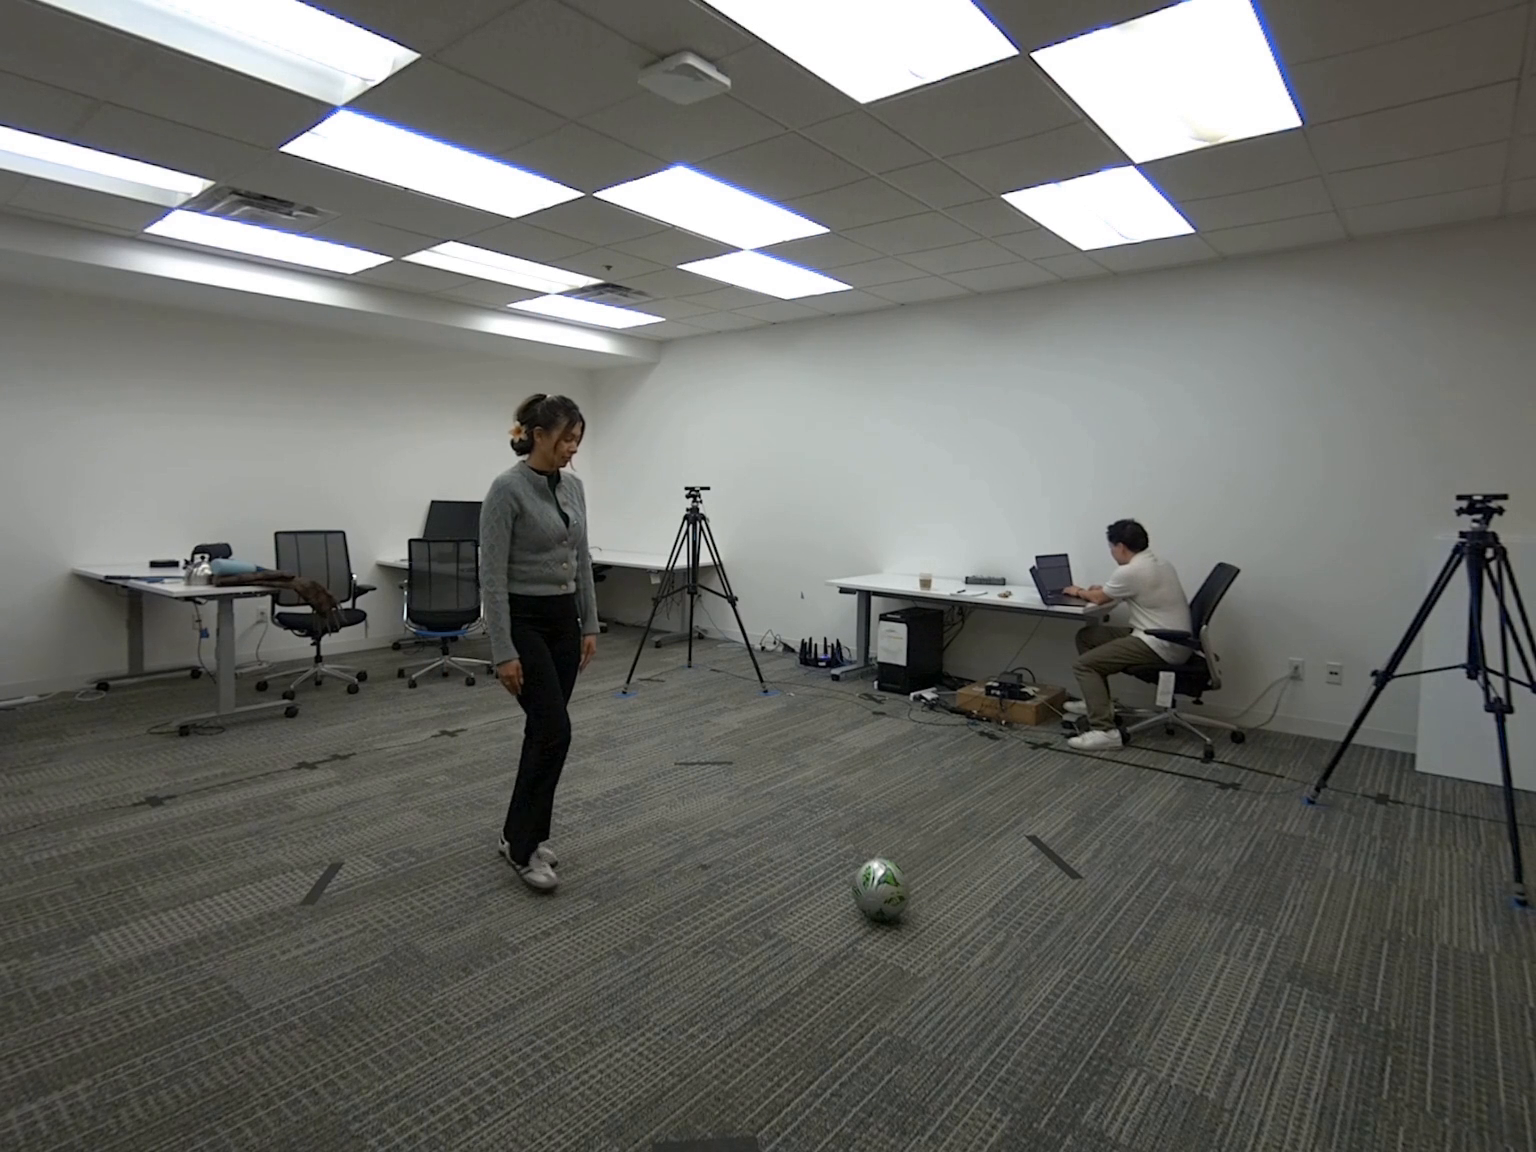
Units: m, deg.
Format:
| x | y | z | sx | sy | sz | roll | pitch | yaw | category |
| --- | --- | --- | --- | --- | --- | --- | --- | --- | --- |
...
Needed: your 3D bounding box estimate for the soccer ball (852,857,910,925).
| x | y | z | sx | sy | sz | roll | pitch | yaw | category |
| --- | --- | --- | --- | --- | --- | --- | --- | --- | --- |
| 0.361 | 1.016 | 2.774 | 0.187 | 0.187 | 0.188 | 1 | 4 | -2 | soccer ball |
